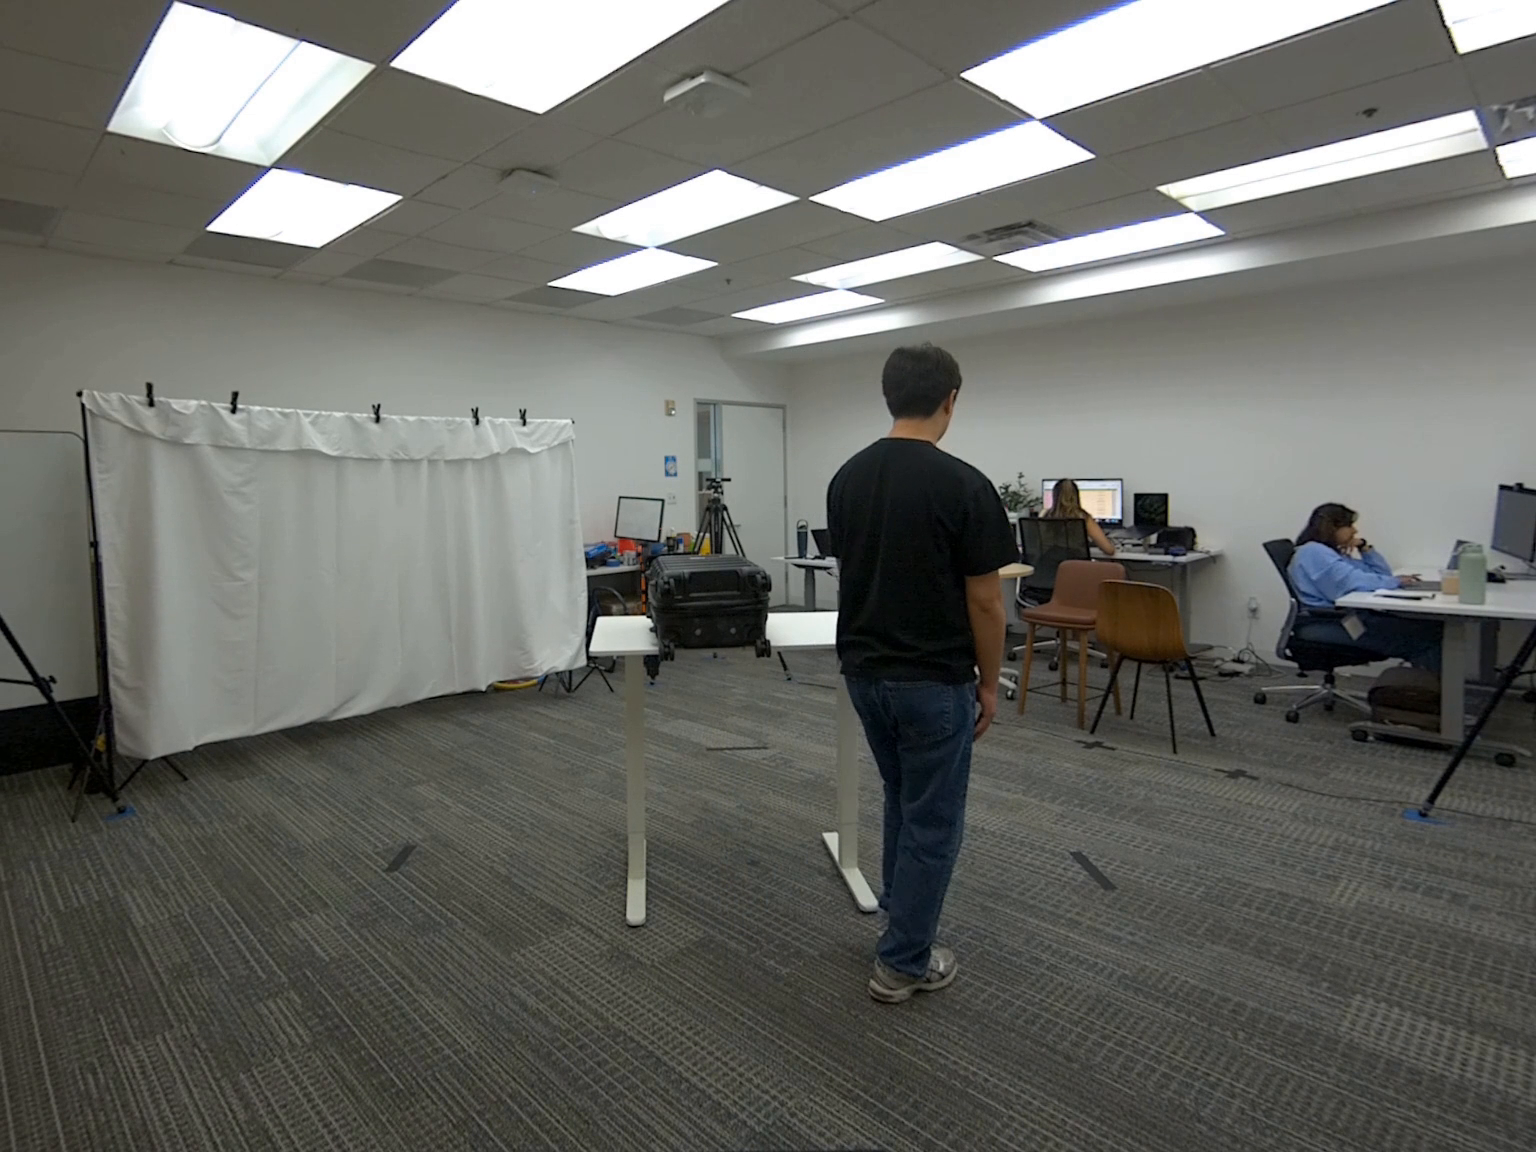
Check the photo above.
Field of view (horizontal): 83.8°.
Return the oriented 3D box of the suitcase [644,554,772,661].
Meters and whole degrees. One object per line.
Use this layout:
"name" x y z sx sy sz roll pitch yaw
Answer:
"suitcase" -0.239 0.051 2.997 0.381 0.255 0.993 -2 9 -9
